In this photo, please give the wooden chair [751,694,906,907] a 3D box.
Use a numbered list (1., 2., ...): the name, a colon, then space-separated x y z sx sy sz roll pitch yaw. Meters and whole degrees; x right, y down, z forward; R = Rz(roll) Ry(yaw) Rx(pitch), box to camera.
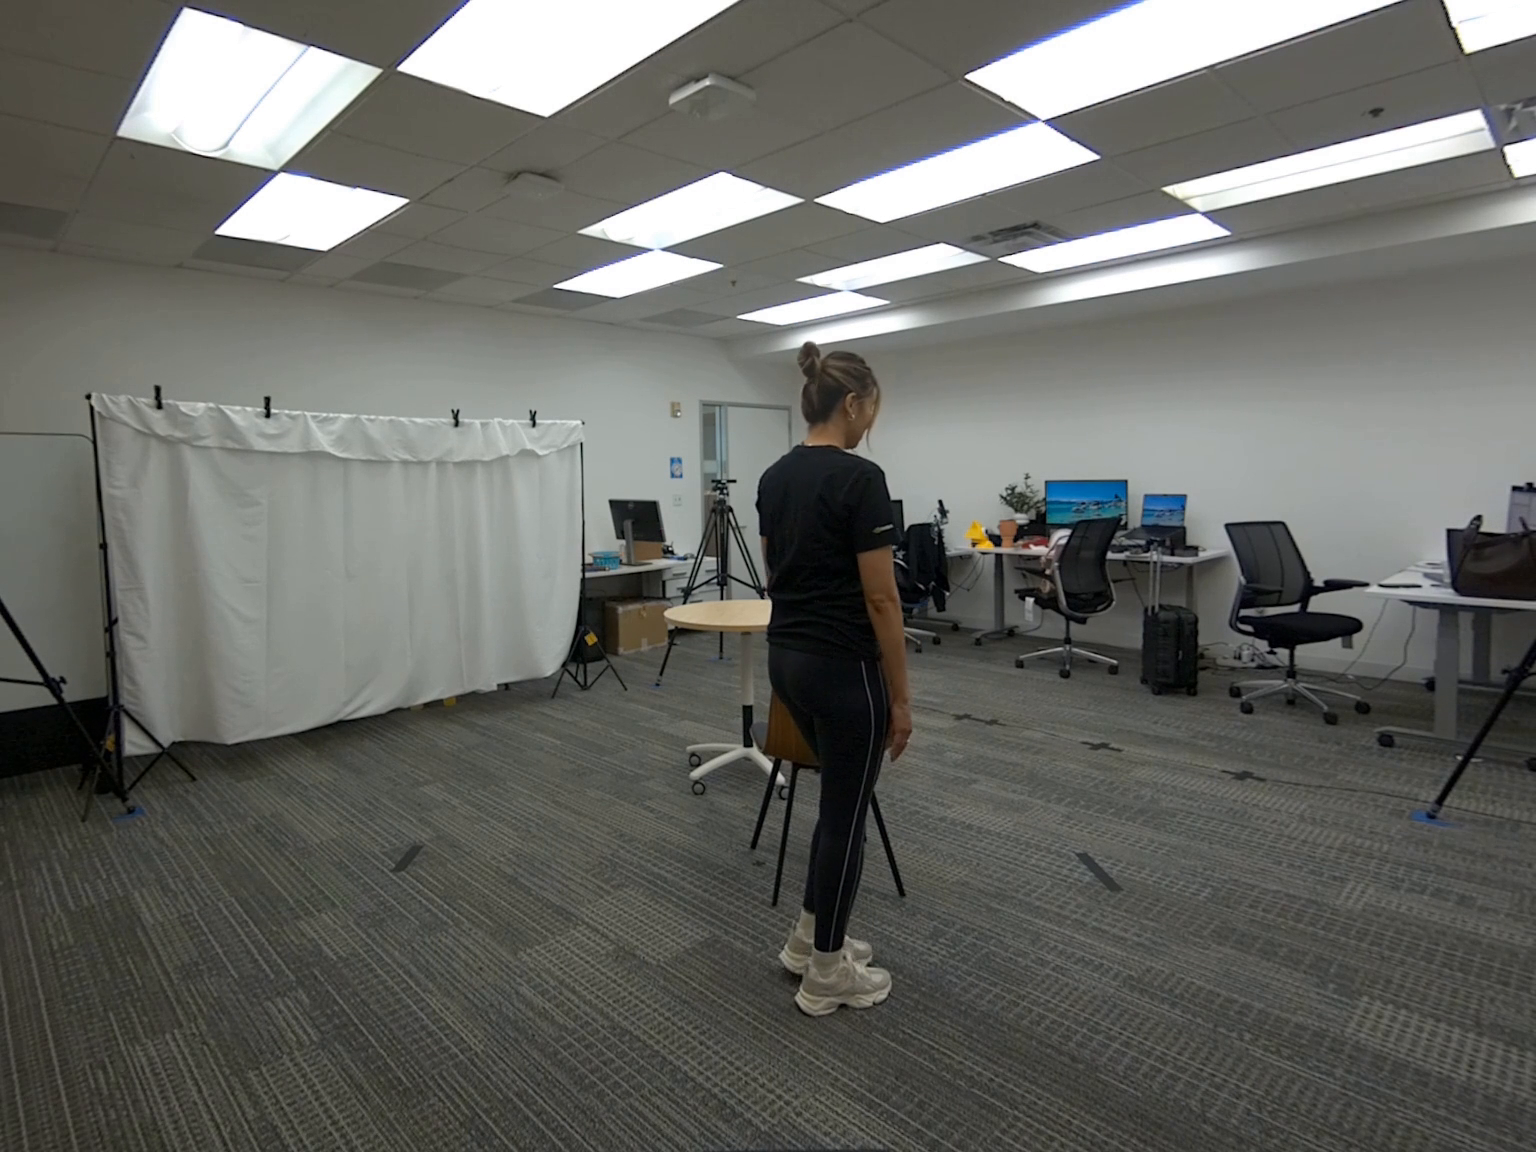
1. wooden chair: 0.186 0.627 3.018 0.474 0.871 0.531 -3 8 -9
